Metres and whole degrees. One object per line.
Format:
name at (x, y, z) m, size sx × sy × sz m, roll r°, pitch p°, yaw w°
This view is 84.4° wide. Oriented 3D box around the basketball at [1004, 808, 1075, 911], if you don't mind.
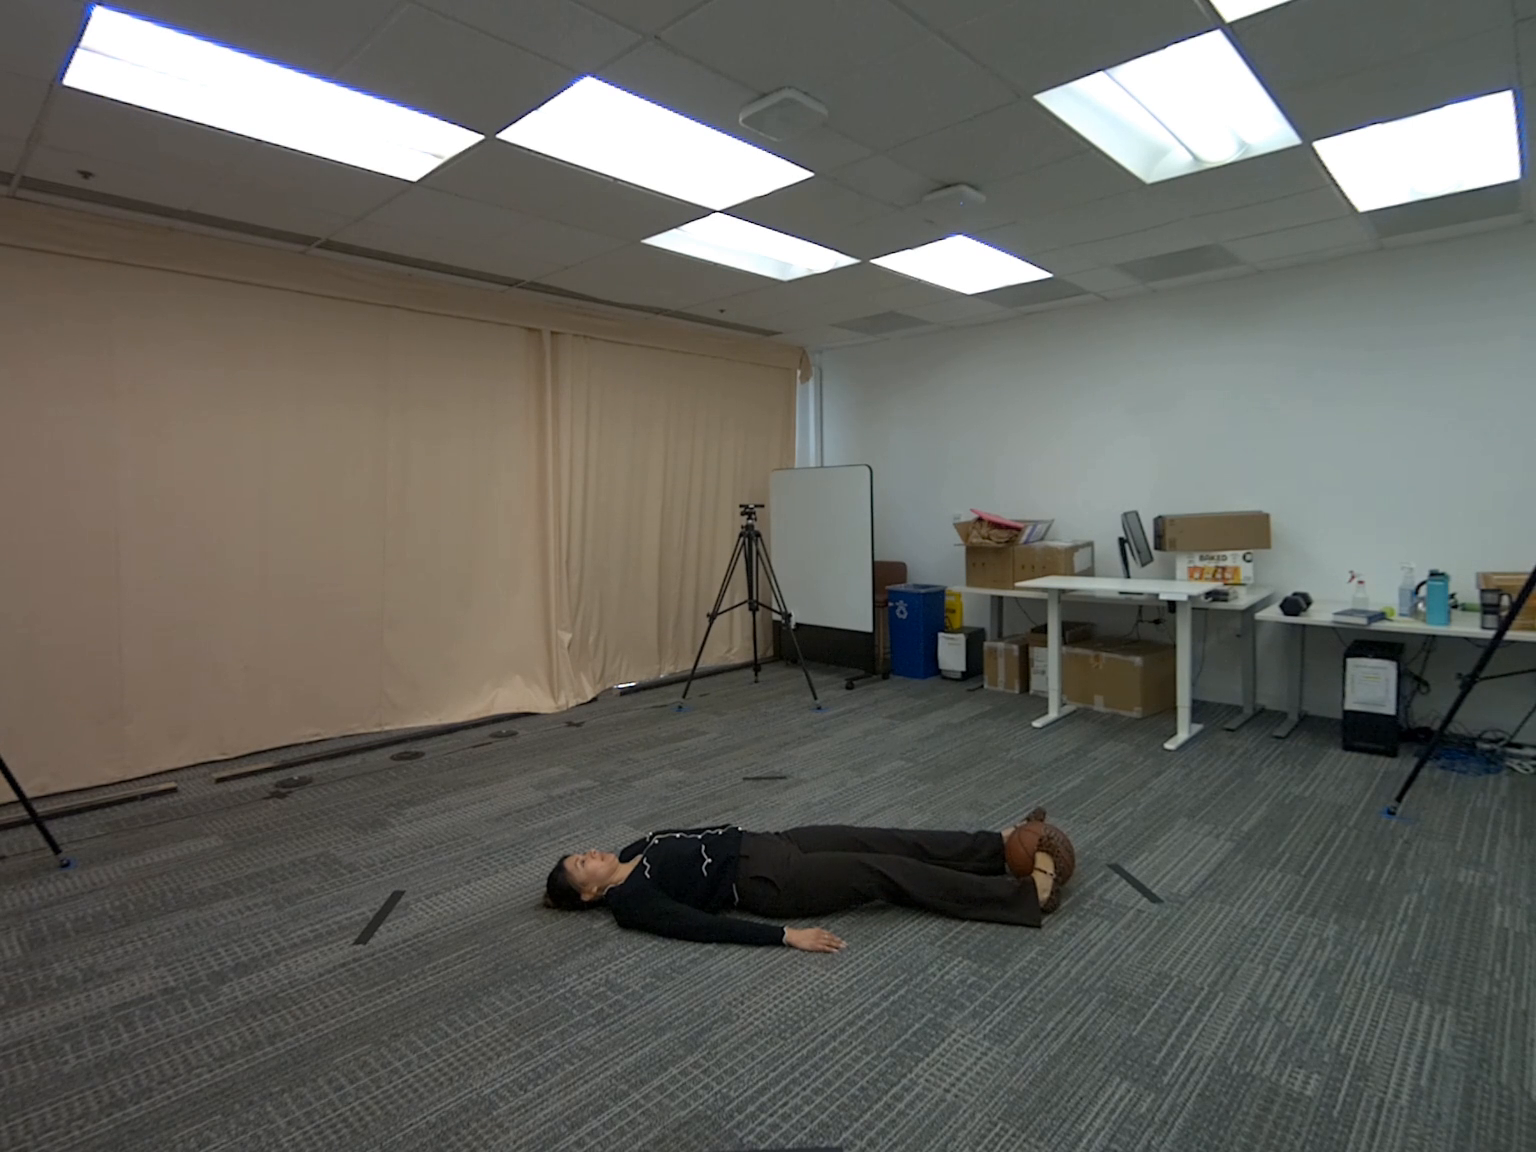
basketball at (0.978, 0.998, 3.019) m, size 0.236 × 0.236 × 0.236 m, roll 0°, pitch 1°, yaw -2°
